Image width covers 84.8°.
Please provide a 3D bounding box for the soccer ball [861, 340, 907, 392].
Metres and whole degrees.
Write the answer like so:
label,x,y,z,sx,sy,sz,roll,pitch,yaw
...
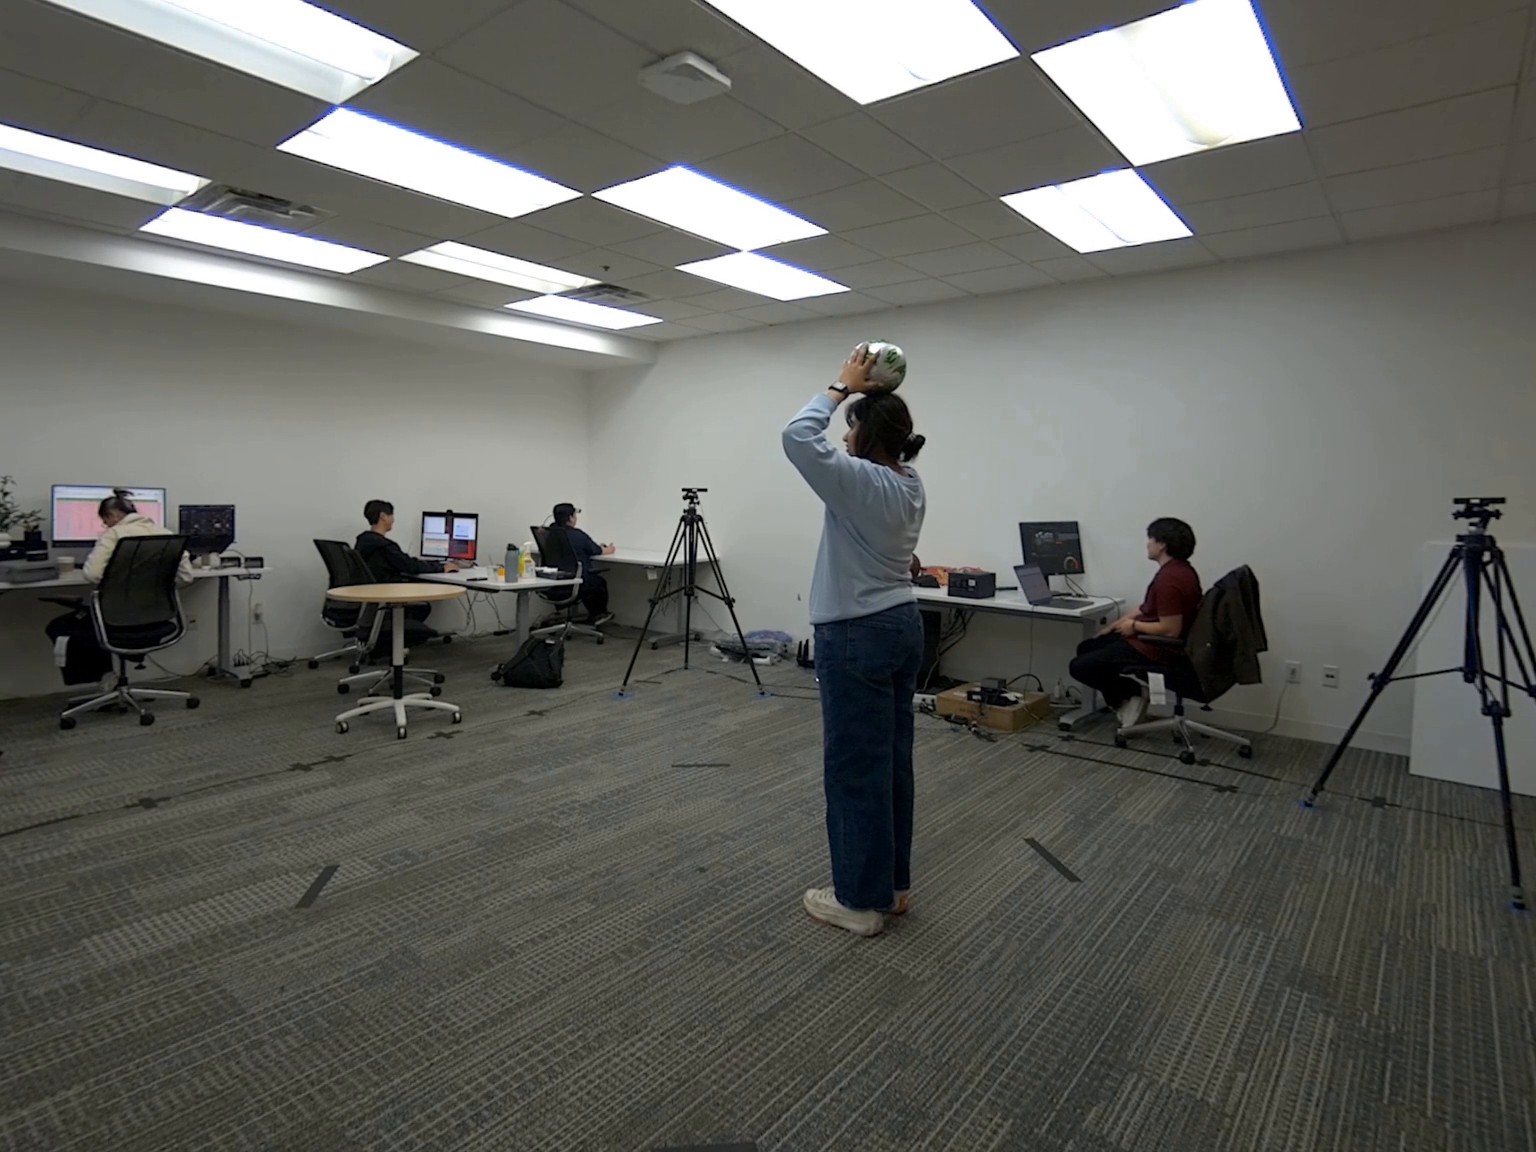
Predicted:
label,x,y,z,sx,sy,sz,roll,pitch,yaw
soccer ball,0.342,-0.674,2.750,0.187,0.187,0.188,1,4,-2
